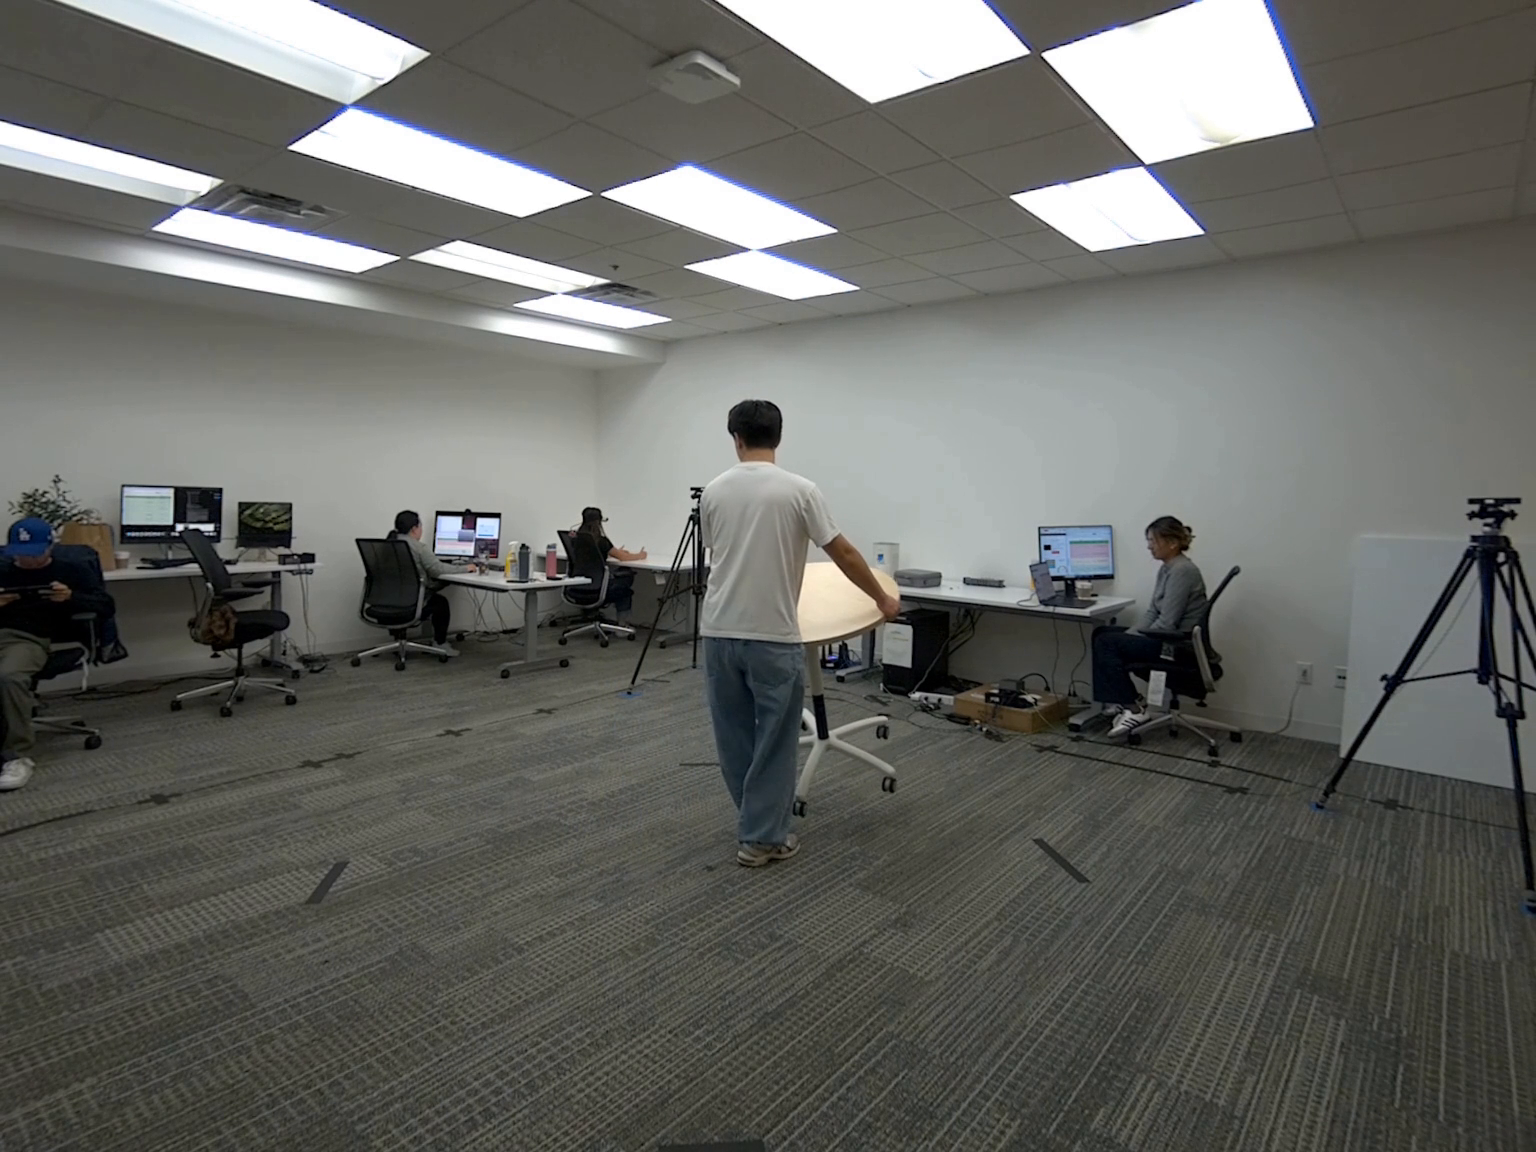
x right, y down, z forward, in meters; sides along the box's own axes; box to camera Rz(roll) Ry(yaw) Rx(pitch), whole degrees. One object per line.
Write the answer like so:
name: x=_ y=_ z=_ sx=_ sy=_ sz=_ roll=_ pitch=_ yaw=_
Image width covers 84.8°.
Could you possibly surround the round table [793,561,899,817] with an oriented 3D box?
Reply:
round table: x=0.193 y=0.471 z=3.629 sx=0.765 sy=0.778 sz=0.779 roll=-8 pitch=20 yaw=1
